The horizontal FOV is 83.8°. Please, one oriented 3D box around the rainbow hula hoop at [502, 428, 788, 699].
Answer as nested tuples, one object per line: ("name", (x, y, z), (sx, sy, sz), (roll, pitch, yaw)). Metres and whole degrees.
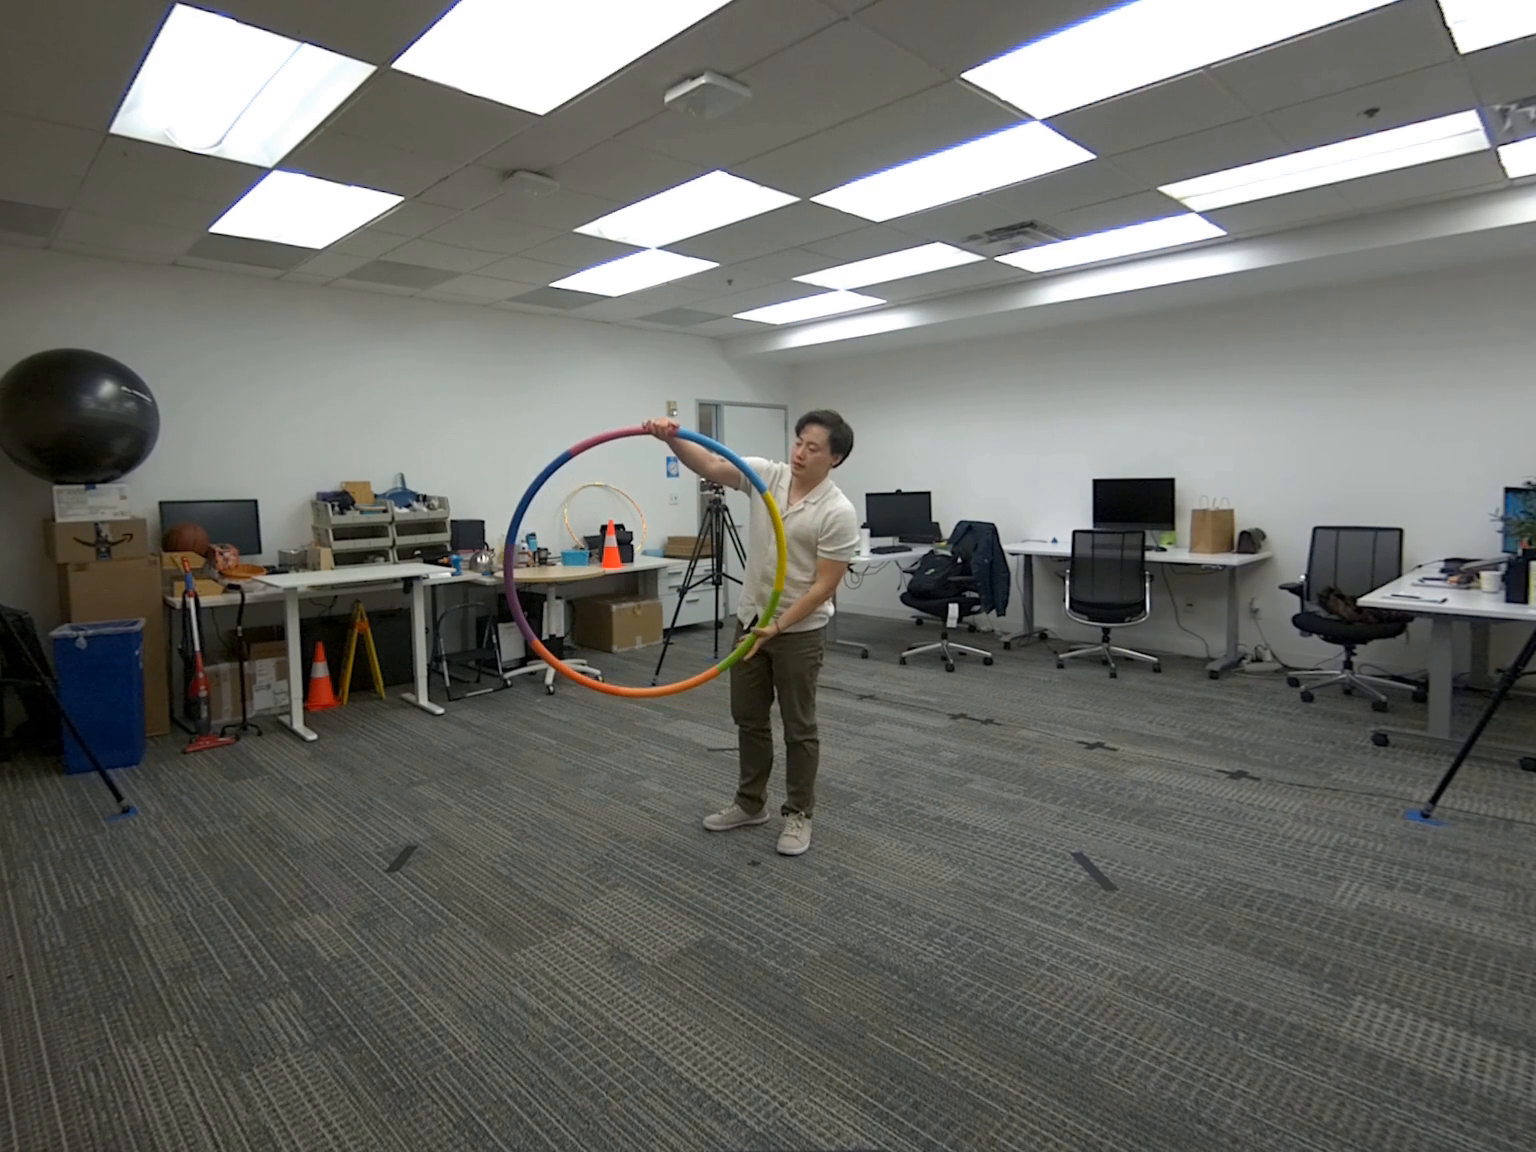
("rainbow hula hoop", (-0.421, -0.033, 2.979), (0.973, 0.964, 0.036), (-1, 17, -5))
